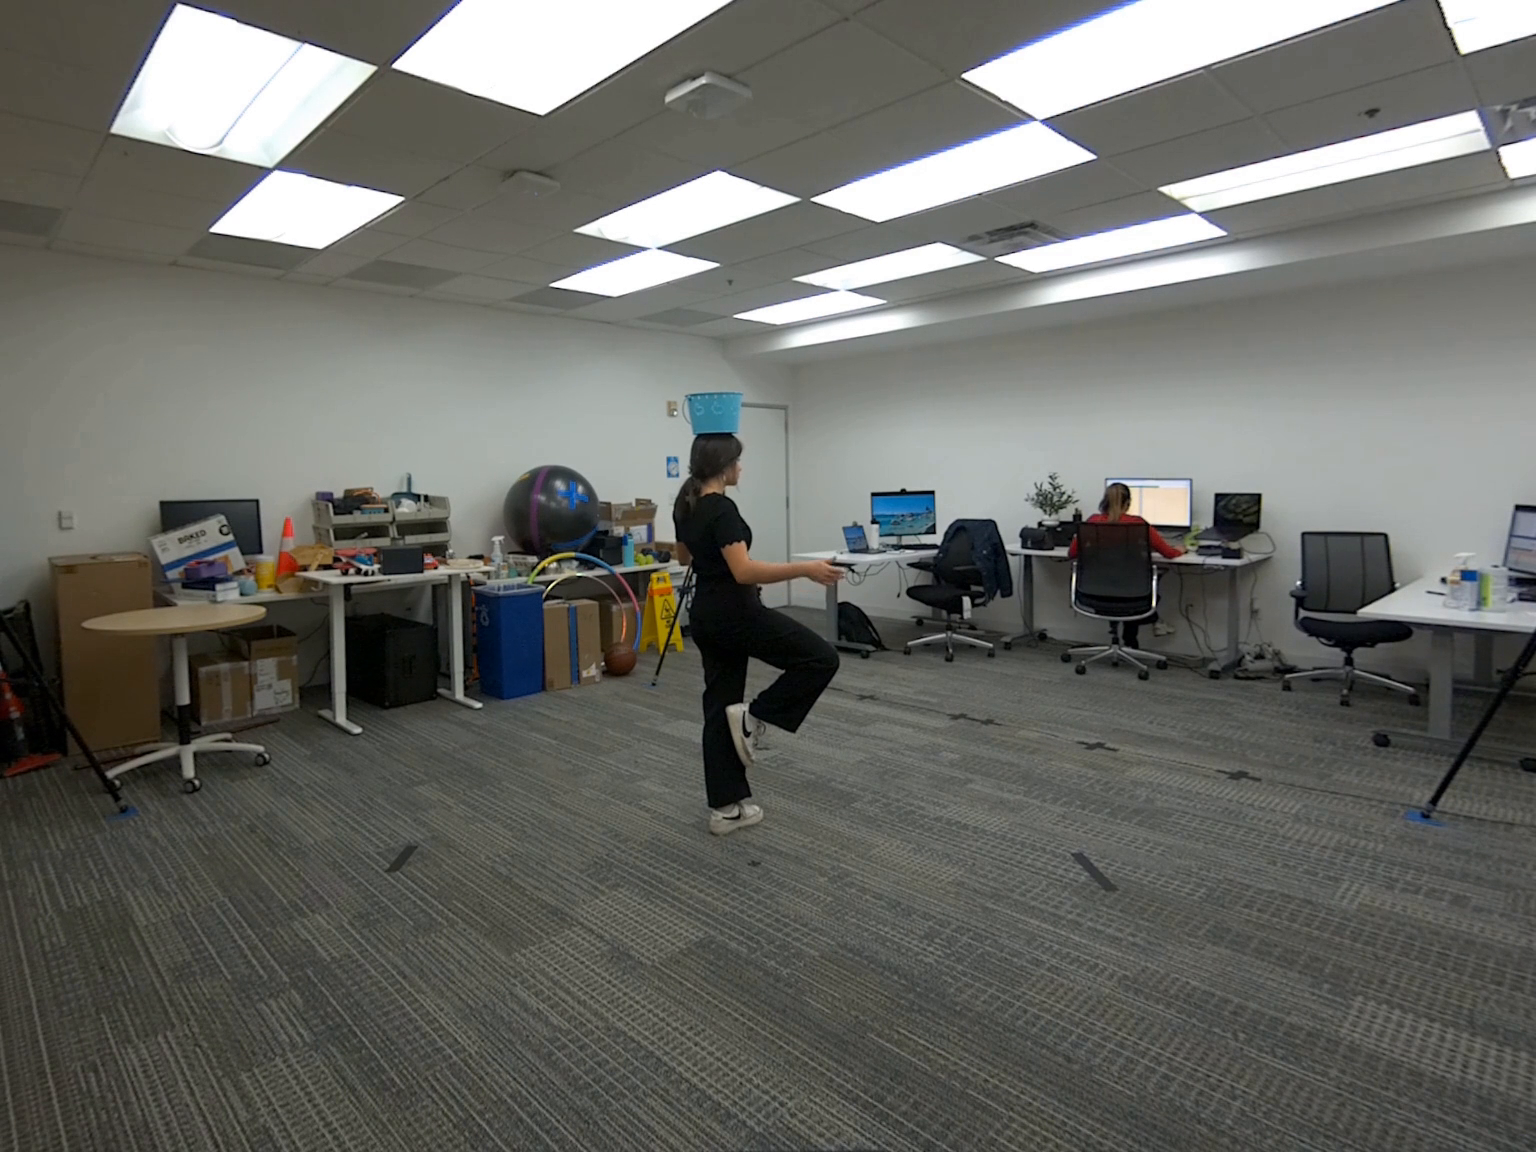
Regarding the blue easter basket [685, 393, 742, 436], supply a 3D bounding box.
[{"bbox_3d":[-0.221,-0.641,3.368,0.243,0.155,0.245,-2,5,-2],"label":"blue easter basket"}]
